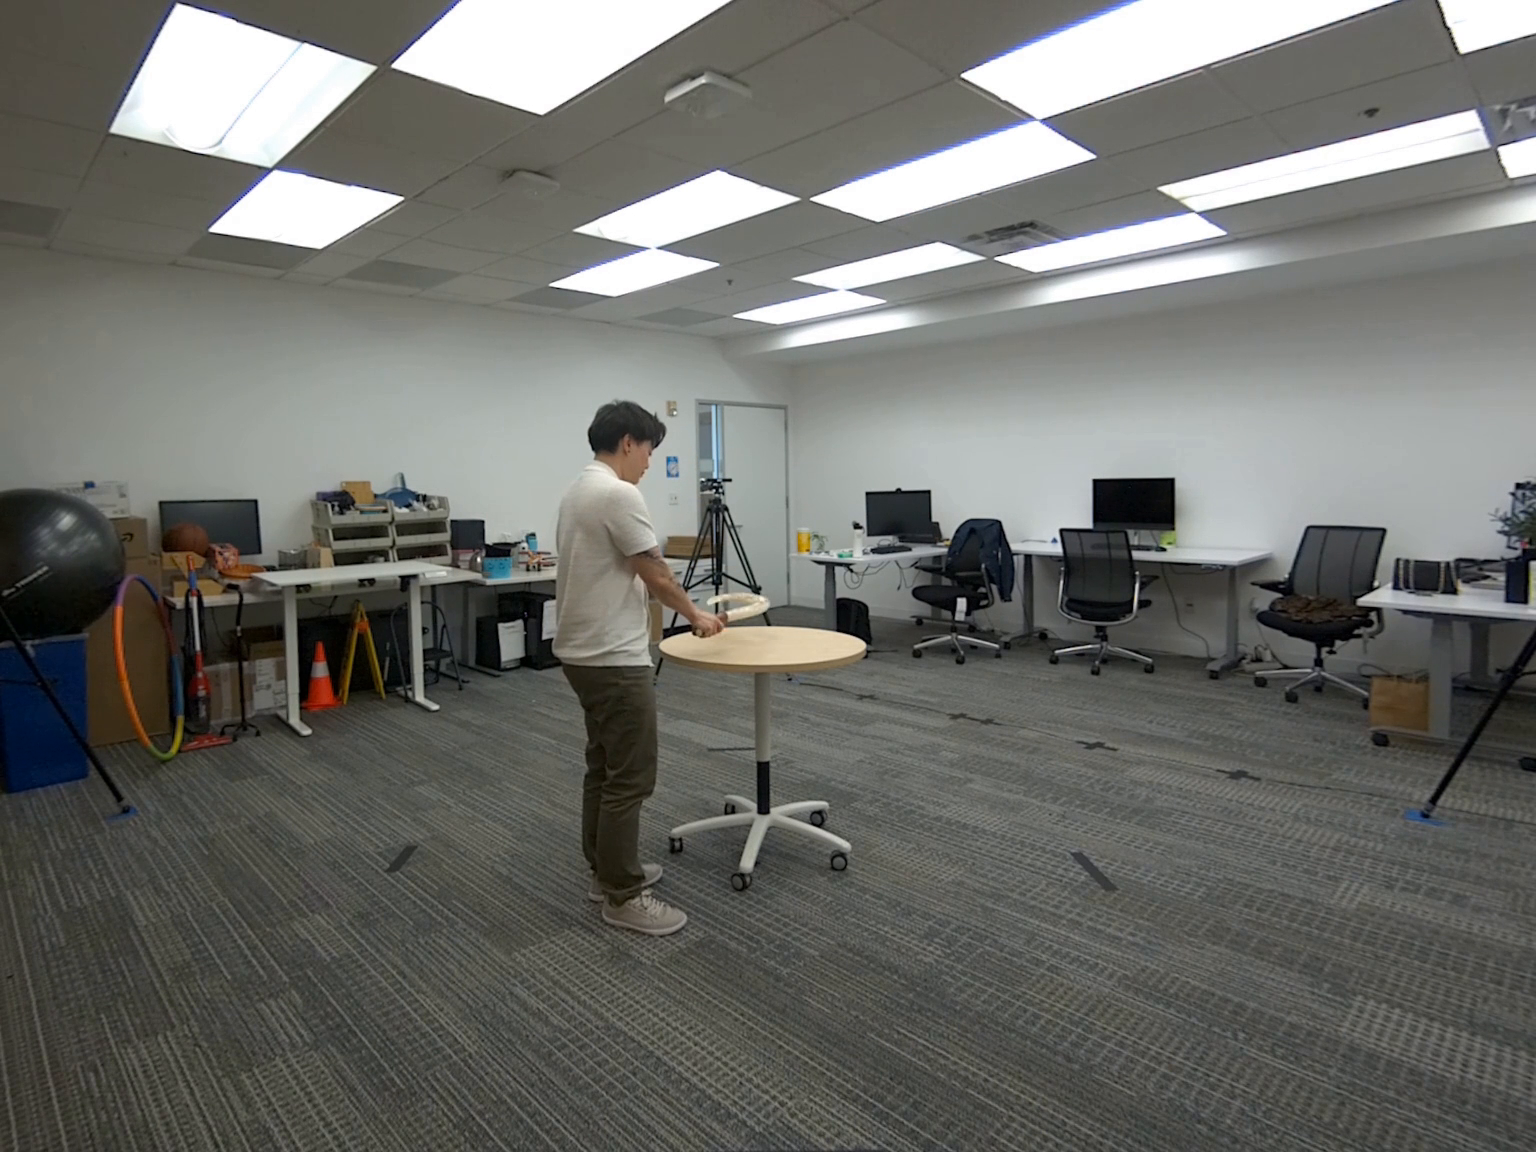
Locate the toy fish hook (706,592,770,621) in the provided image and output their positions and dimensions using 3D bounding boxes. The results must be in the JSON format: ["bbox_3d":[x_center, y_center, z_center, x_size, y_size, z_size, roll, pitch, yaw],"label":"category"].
[{"bbox_3d":[-0.172,0.131,3.102,0.230,0.048,0.499,3,13,24],"label":"toy fish hook"}]
